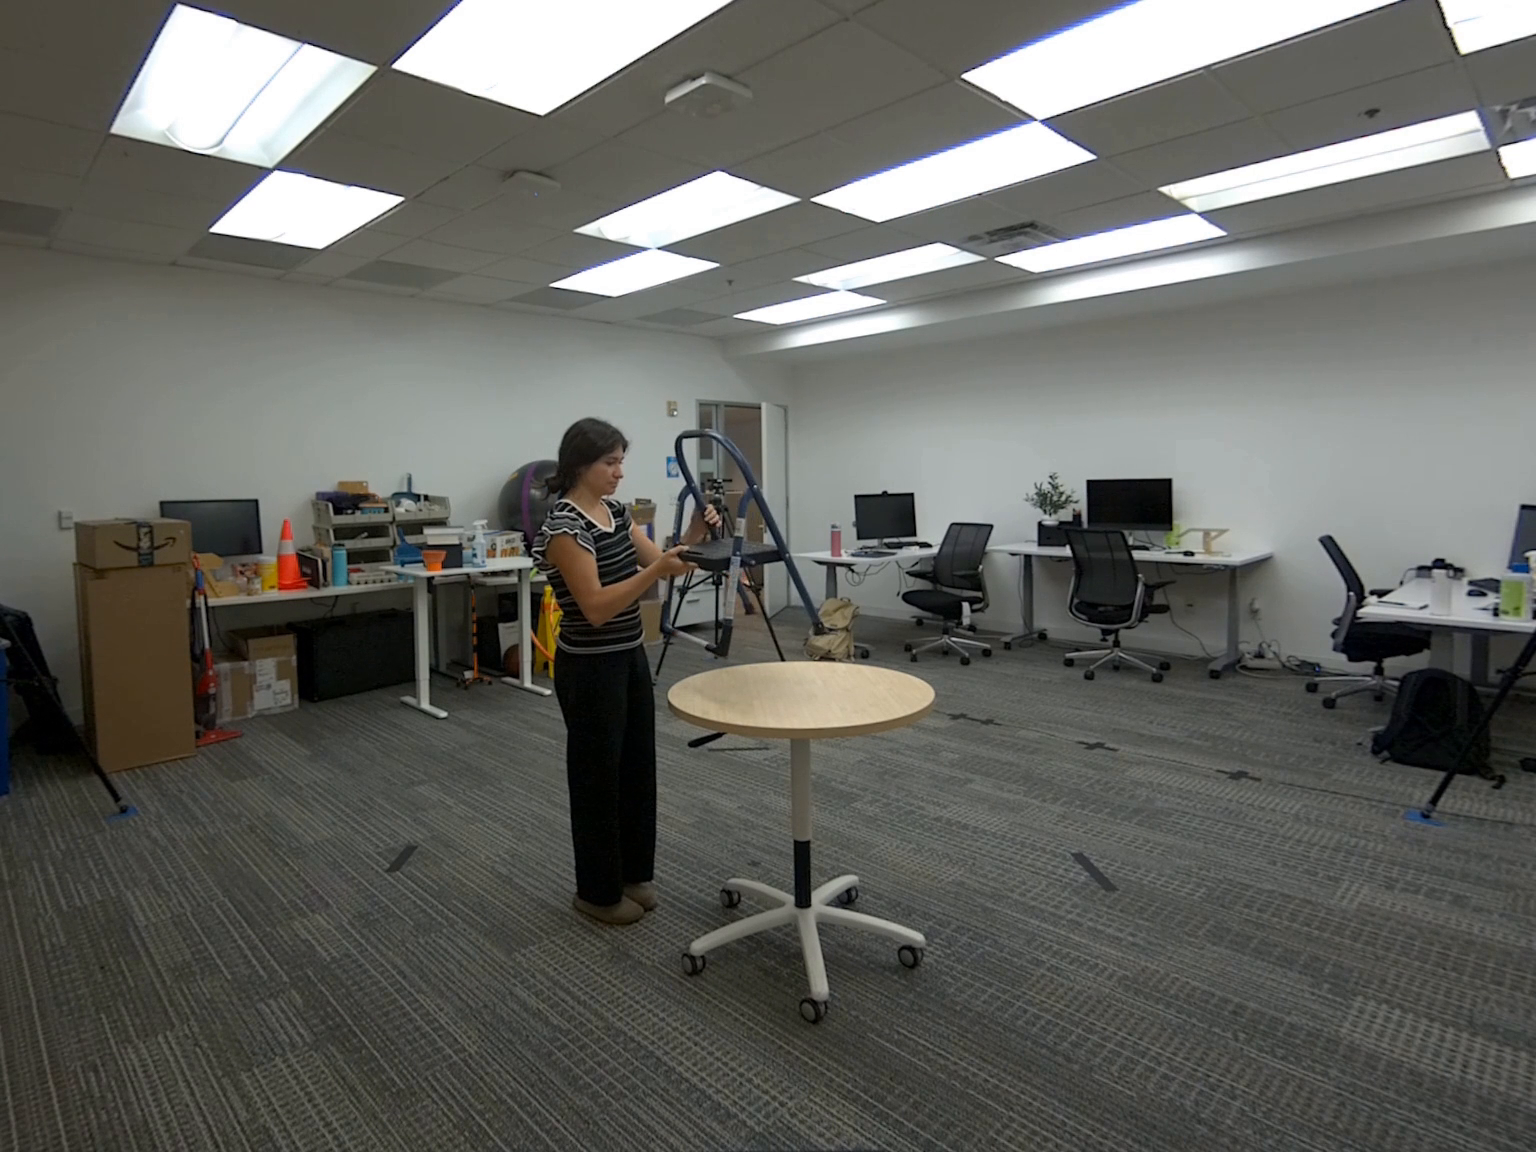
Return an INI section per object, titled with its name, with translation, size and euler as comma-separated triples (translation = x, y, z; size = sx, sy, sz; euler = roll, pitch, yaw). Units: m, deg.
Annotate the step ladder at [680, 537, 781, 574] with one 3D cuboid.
[step ladder]
translation = -0.112, -0.129, 2.490
size = 0.342, 0.602, 0.442
euler = -10, 9, -29
